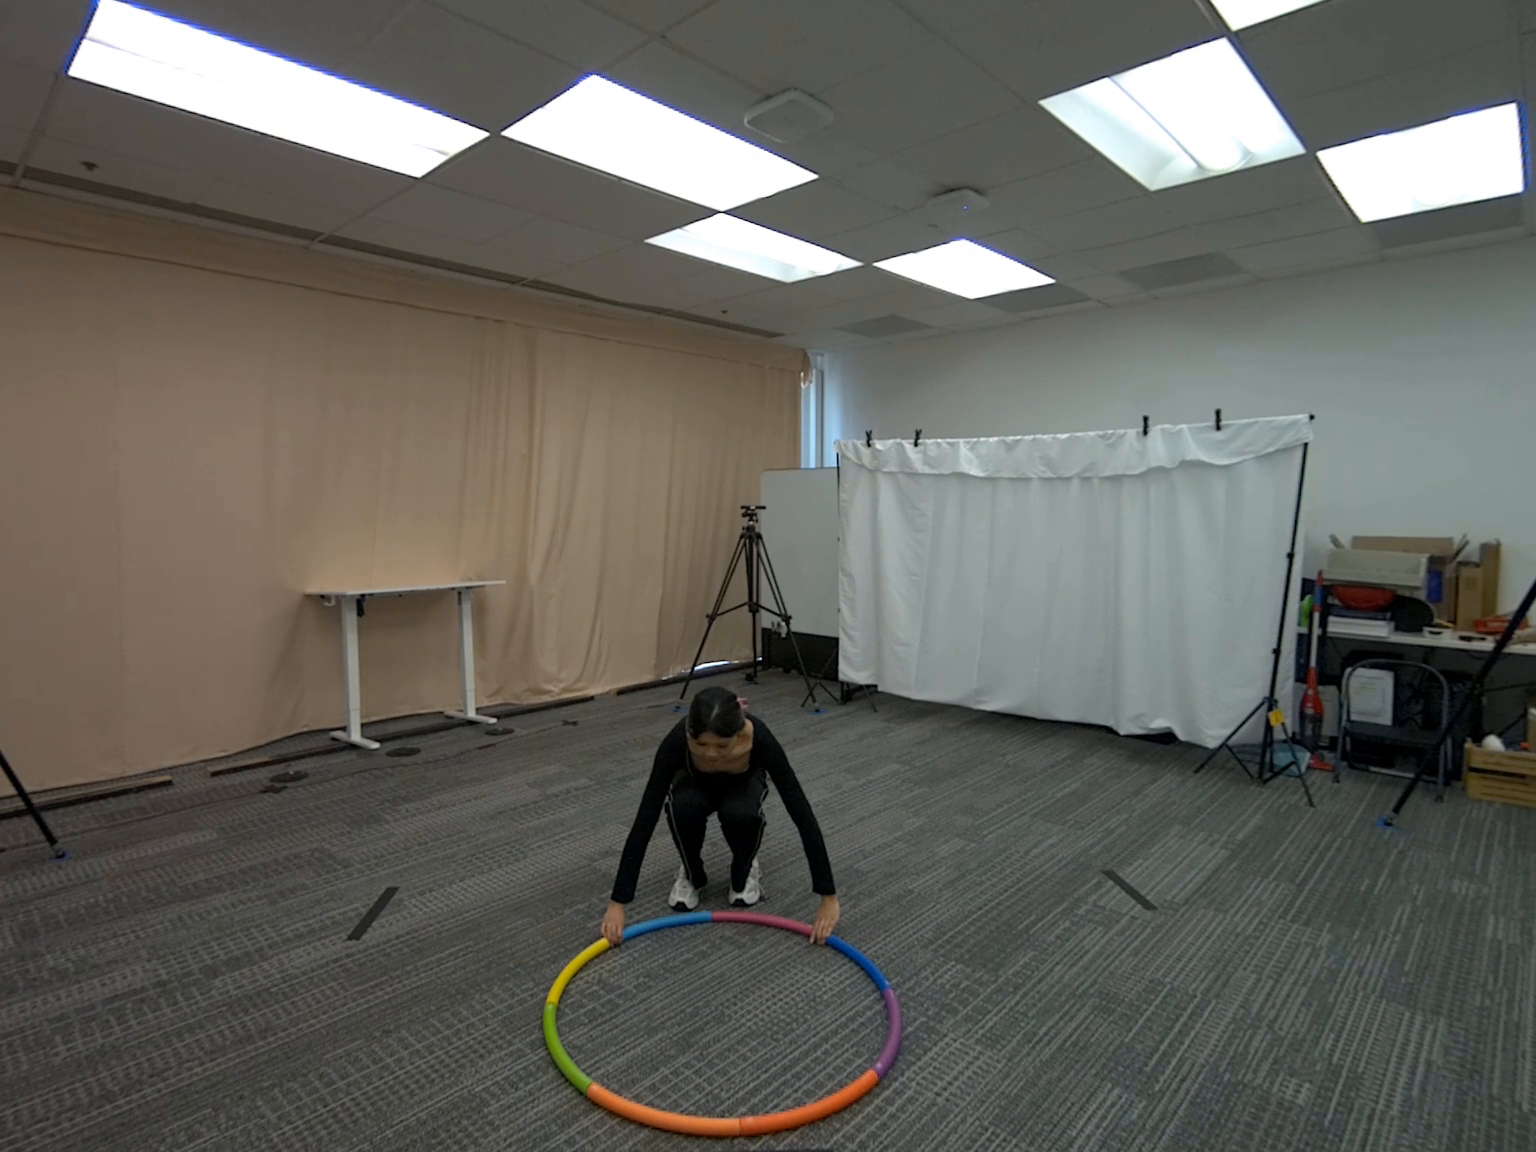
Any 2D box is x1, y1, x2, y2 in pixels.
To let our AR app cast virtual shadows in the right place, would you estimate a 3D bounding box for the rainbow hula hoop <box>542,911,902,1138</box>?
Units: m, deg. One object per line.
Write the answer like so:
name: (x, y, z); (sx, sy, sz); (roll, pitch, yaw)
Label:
rainbow hula hoop: (-0.124, 1.169, 2.345); (0.978, 0.035, 0.982); (0, 5, -2)
